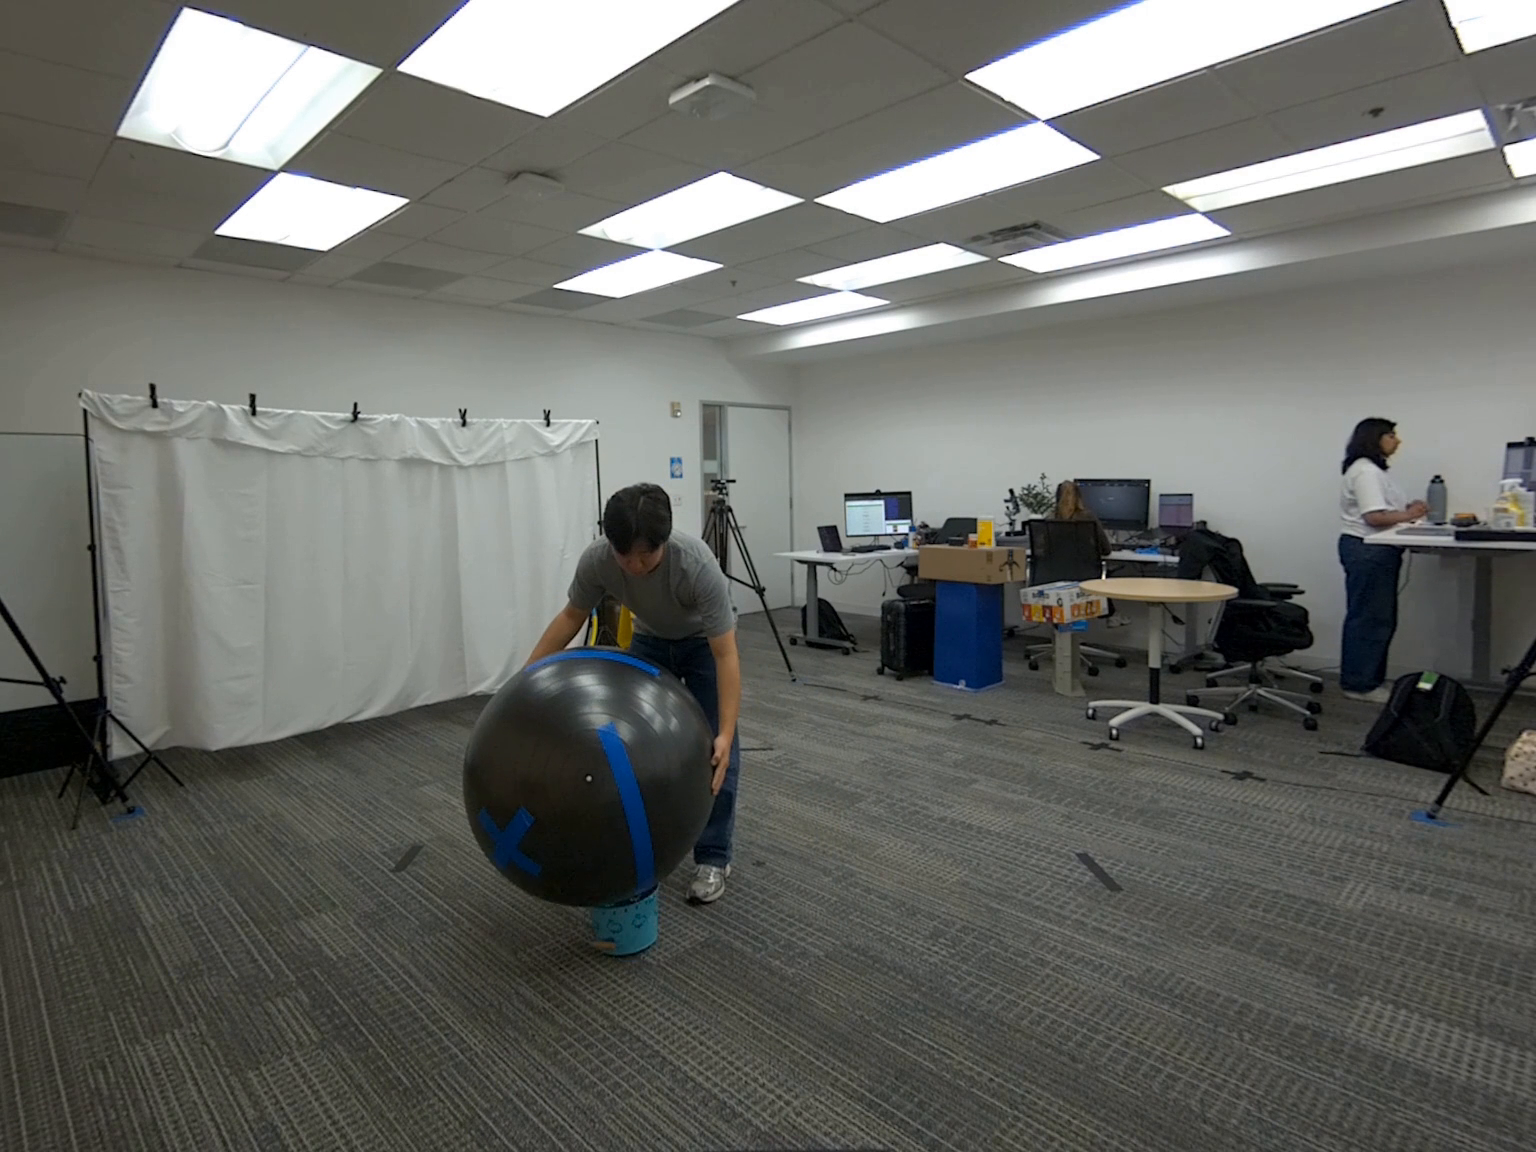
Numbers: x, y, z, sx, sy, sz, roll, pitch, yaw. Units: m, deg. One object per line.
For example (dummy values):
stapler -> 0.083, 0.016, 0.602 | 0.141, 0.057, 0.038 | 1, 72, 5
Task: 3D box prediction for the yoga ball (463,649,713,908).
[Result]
yoga ball -> -0.533, 0.599, 2.591 | 0.757, 0.755, 0.762 | -1, 5, -2
